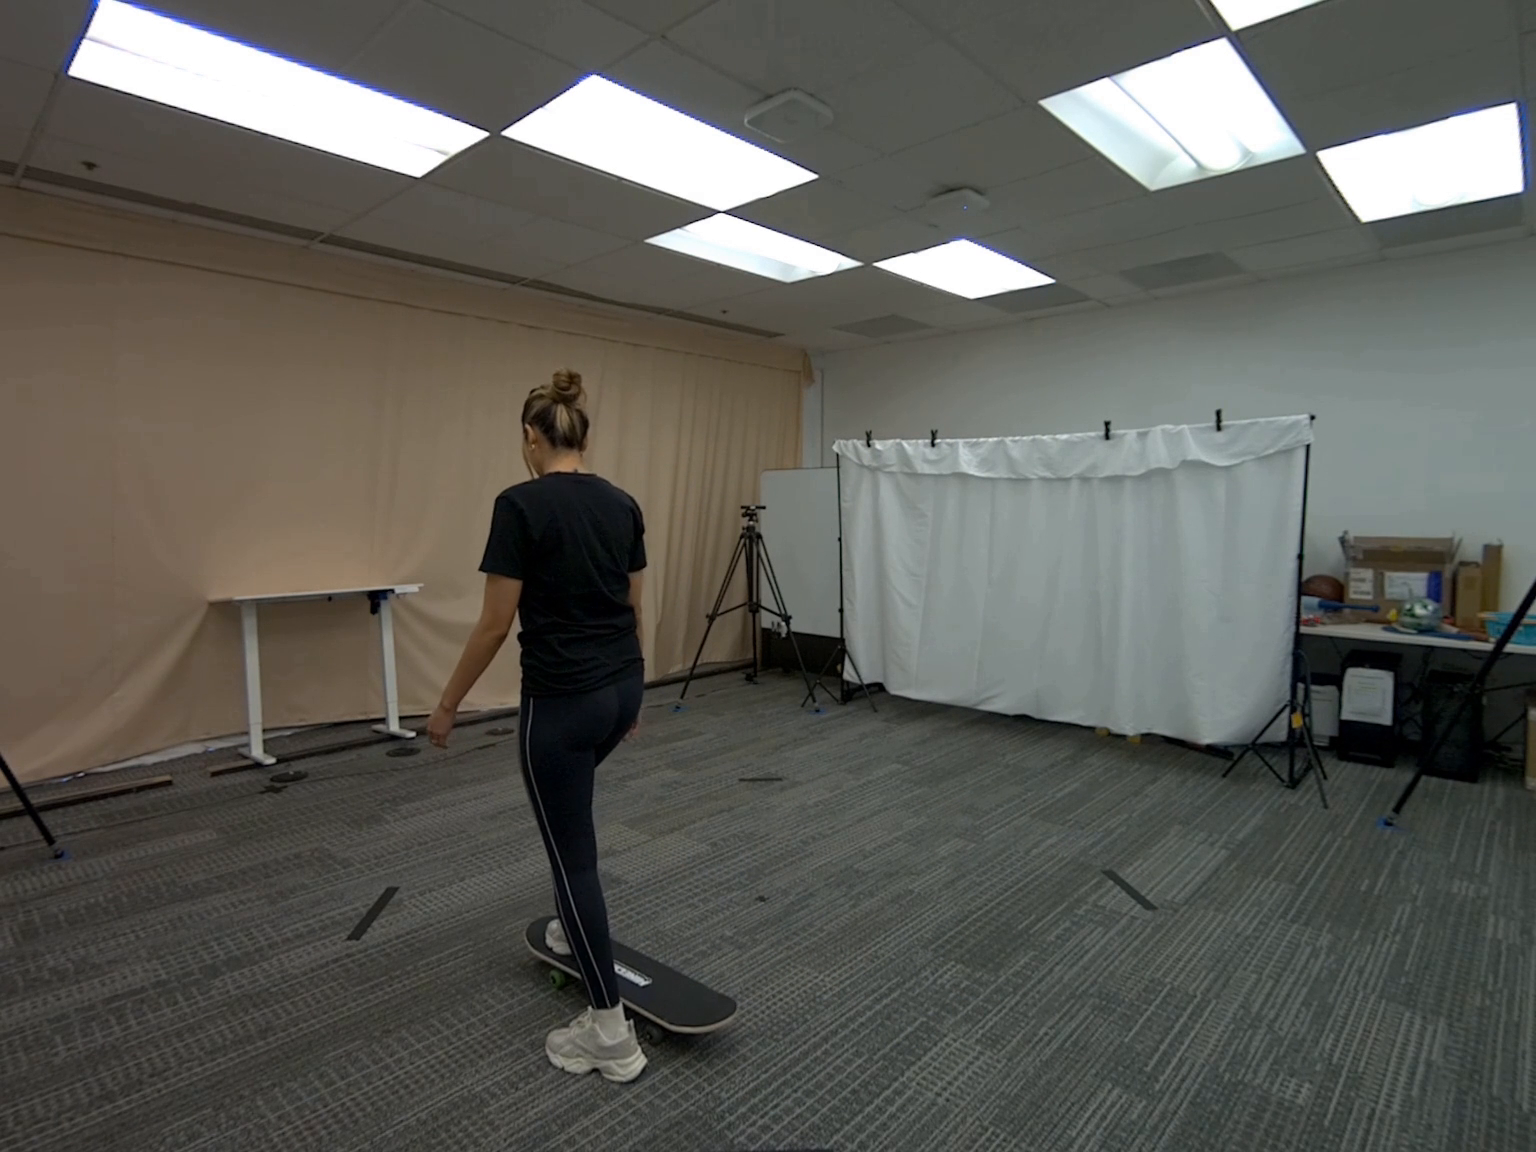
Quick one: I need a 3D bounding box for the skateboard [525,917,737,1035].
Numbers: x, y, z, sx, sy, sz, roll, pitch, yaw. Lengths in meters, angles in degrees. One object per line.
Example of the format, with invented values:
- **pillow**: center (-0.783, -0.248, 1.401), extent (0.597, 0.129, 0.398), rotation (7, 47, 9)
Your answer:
- **skateboard**: center (-0.406, 1.147, 2.363), extent (0.811, 0.110, 0.188), rotation (3, 6, 39)
